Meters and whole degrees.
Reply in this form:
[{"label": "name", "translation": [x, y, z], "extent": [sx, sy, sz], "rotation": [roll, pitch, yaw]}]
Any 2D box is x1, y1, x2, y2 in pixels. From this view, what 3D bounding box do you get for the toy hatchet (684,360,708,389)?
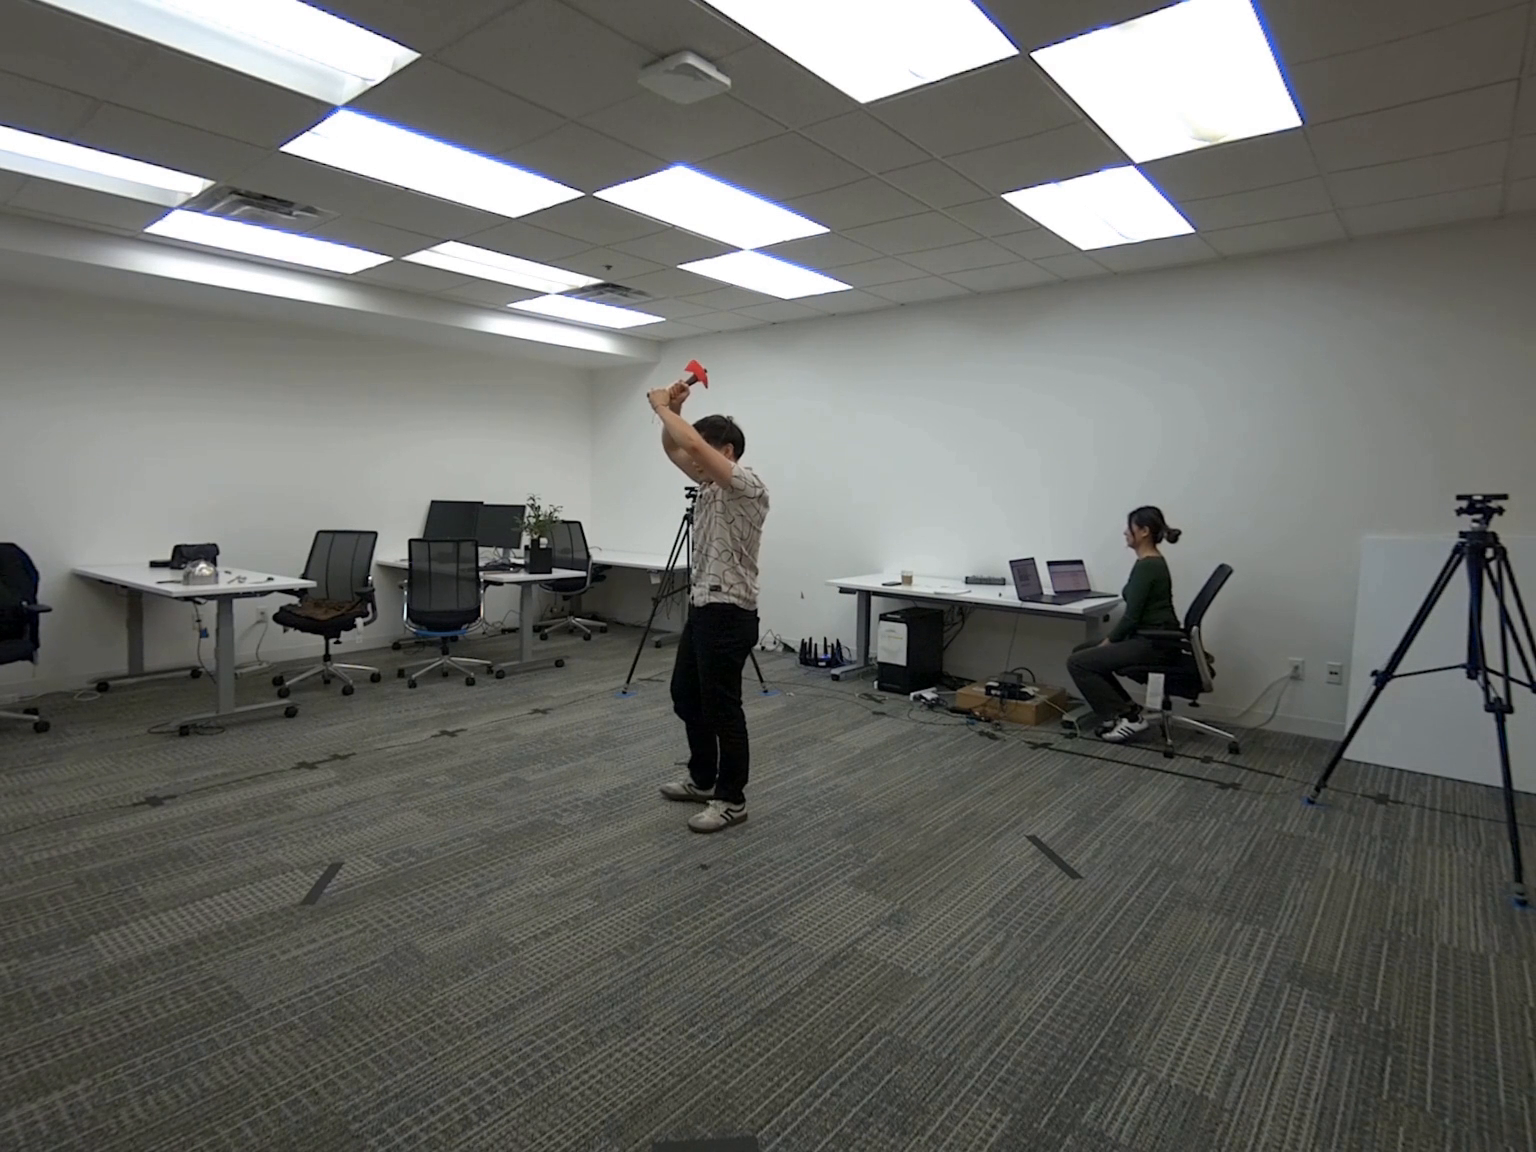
[{"label": "toy hatchet", "translation": [-0.381, -0.786, 3.379], "extent": [0.266, 0.128, 0.031], "rotation": [-19, 27, -20]}]
